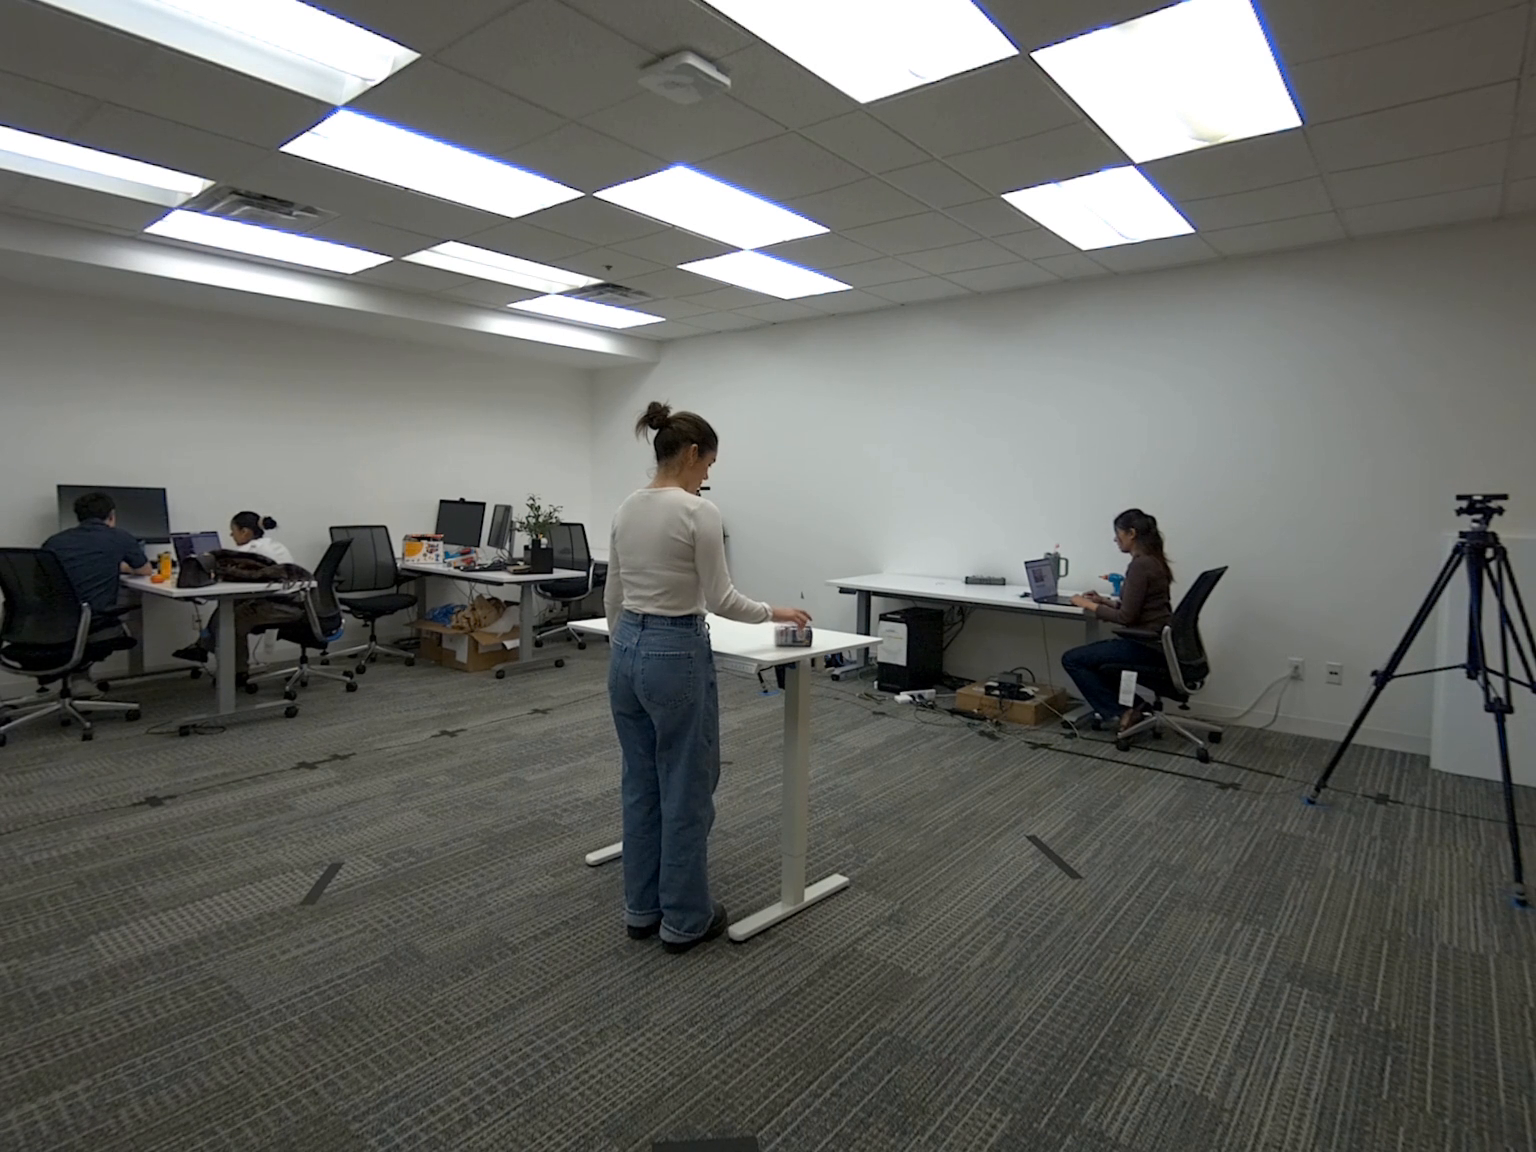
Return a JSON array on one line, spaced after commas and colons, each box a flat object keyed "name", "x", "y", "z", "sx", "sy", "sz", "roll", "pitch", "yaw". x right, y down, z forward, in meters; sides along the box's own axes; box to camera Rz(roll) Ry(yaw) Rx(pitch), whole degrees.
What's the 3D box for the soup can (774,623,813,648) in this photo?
[{"name": "soup can", "x": 0.070, "y": 0.194, "z": 2.721, "sx": 0.121, "sy": 0.067, "sz": 0.067, "roll": 3, "pitch": 4, "yaw": -1}]
